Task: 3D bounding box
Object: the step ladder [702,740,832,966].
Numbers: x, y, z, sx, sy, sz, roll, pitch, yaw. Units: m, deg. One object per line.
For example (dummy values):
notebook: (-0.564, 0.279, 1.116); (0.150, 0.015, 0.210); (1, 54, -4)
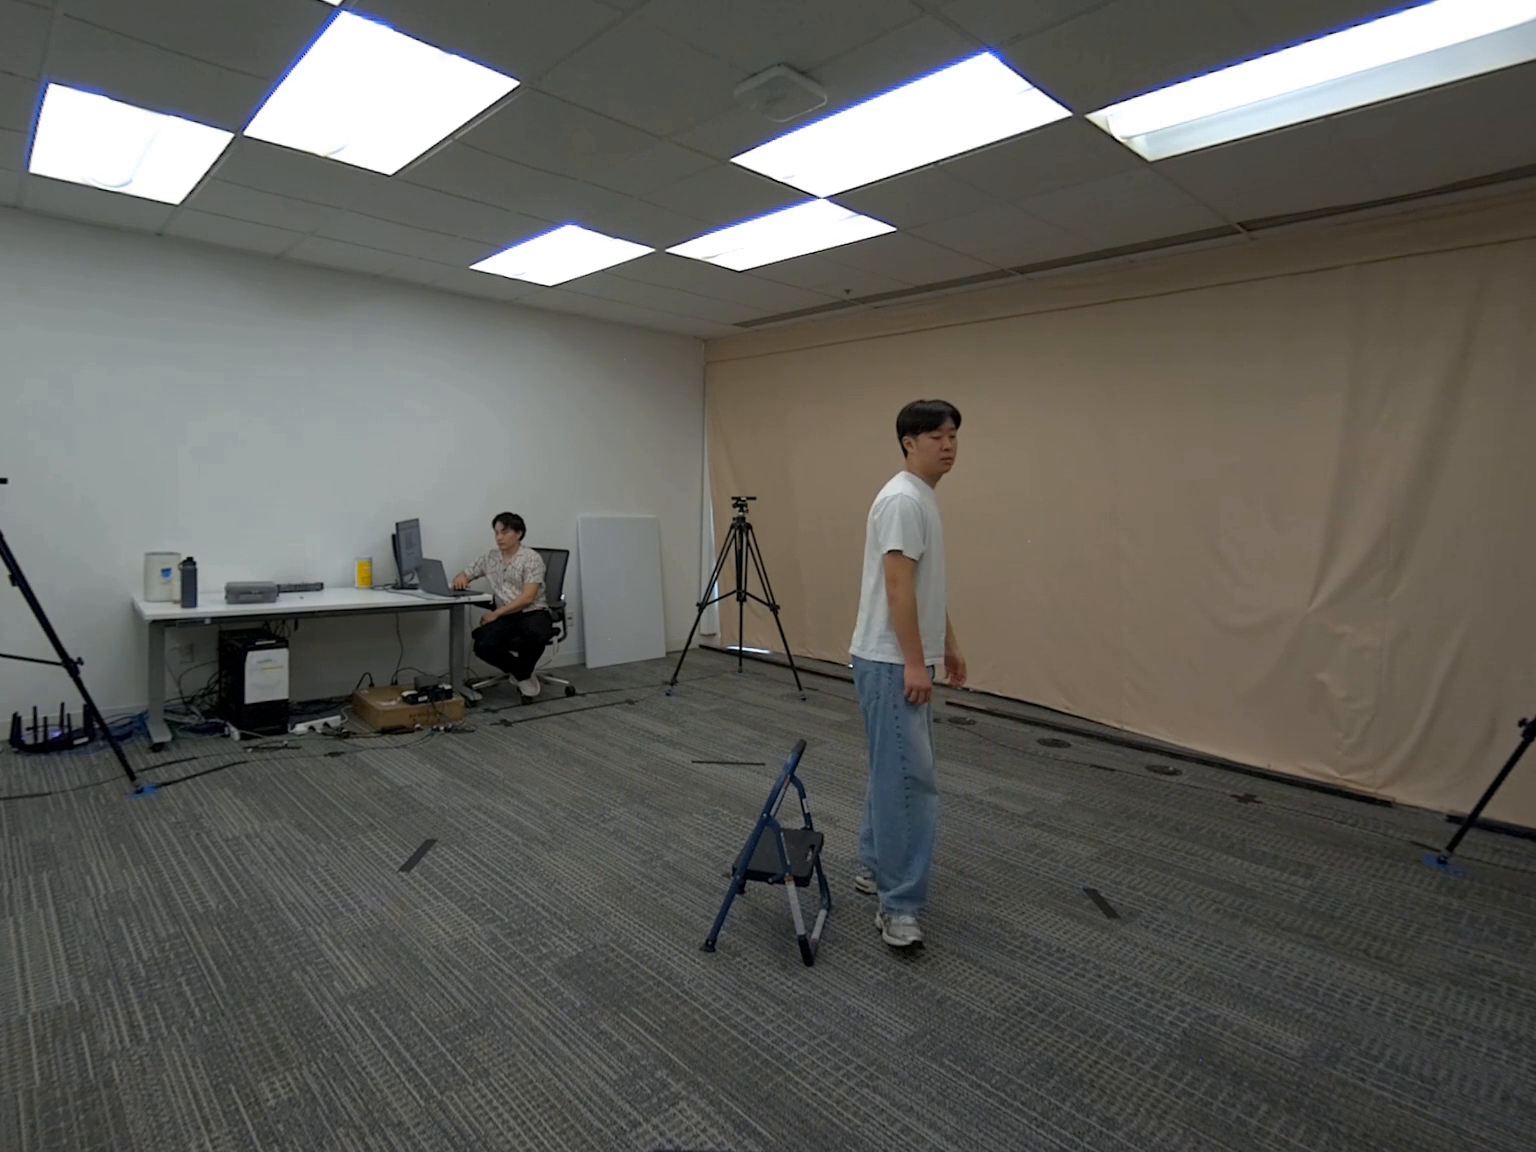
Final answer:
step ladder: (0.012, 0.845, 2.720); (0.353, 0.604, 0.427); (2, 4, 13)
